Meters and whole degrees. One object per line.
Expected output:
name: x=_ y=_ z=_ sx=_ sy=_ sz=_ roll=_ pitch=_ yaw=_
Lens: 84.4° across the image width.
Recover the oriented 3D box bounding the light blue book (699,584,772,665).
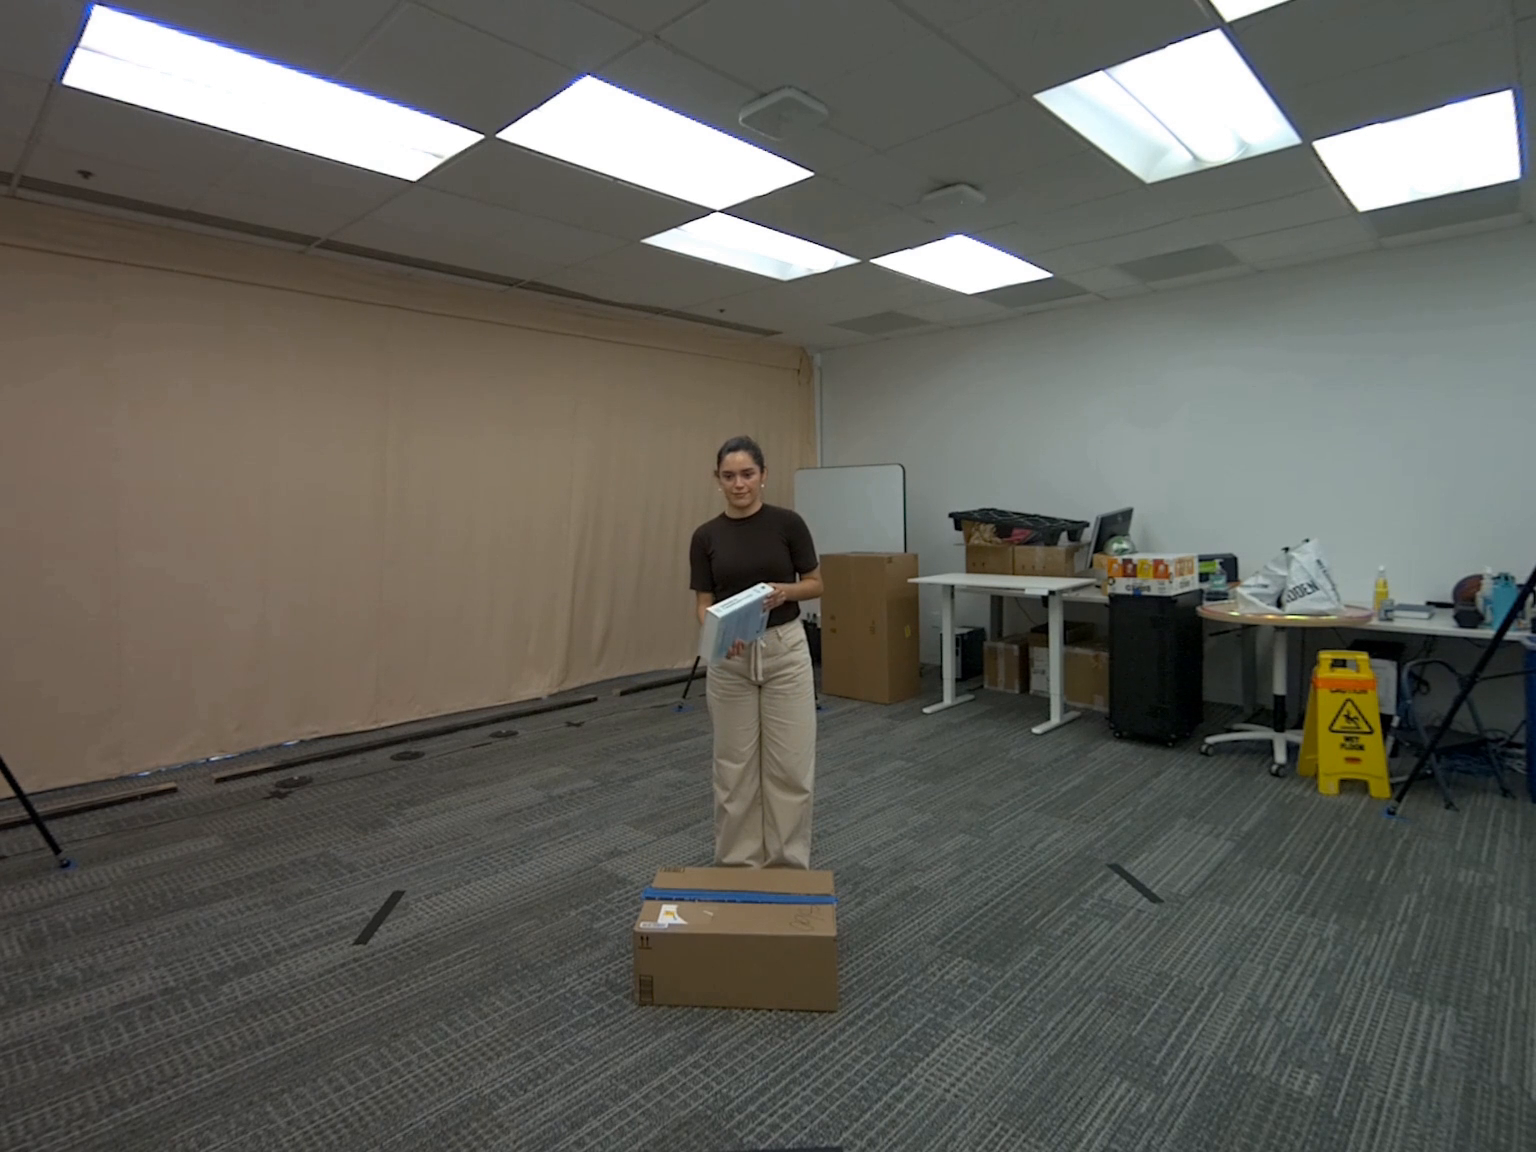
light blue book: x=-0.104 y=0.147 z=2.674 sx=0.061 sy=0.189 sz=0.255 roll=33 pitch=38 yaw=30
